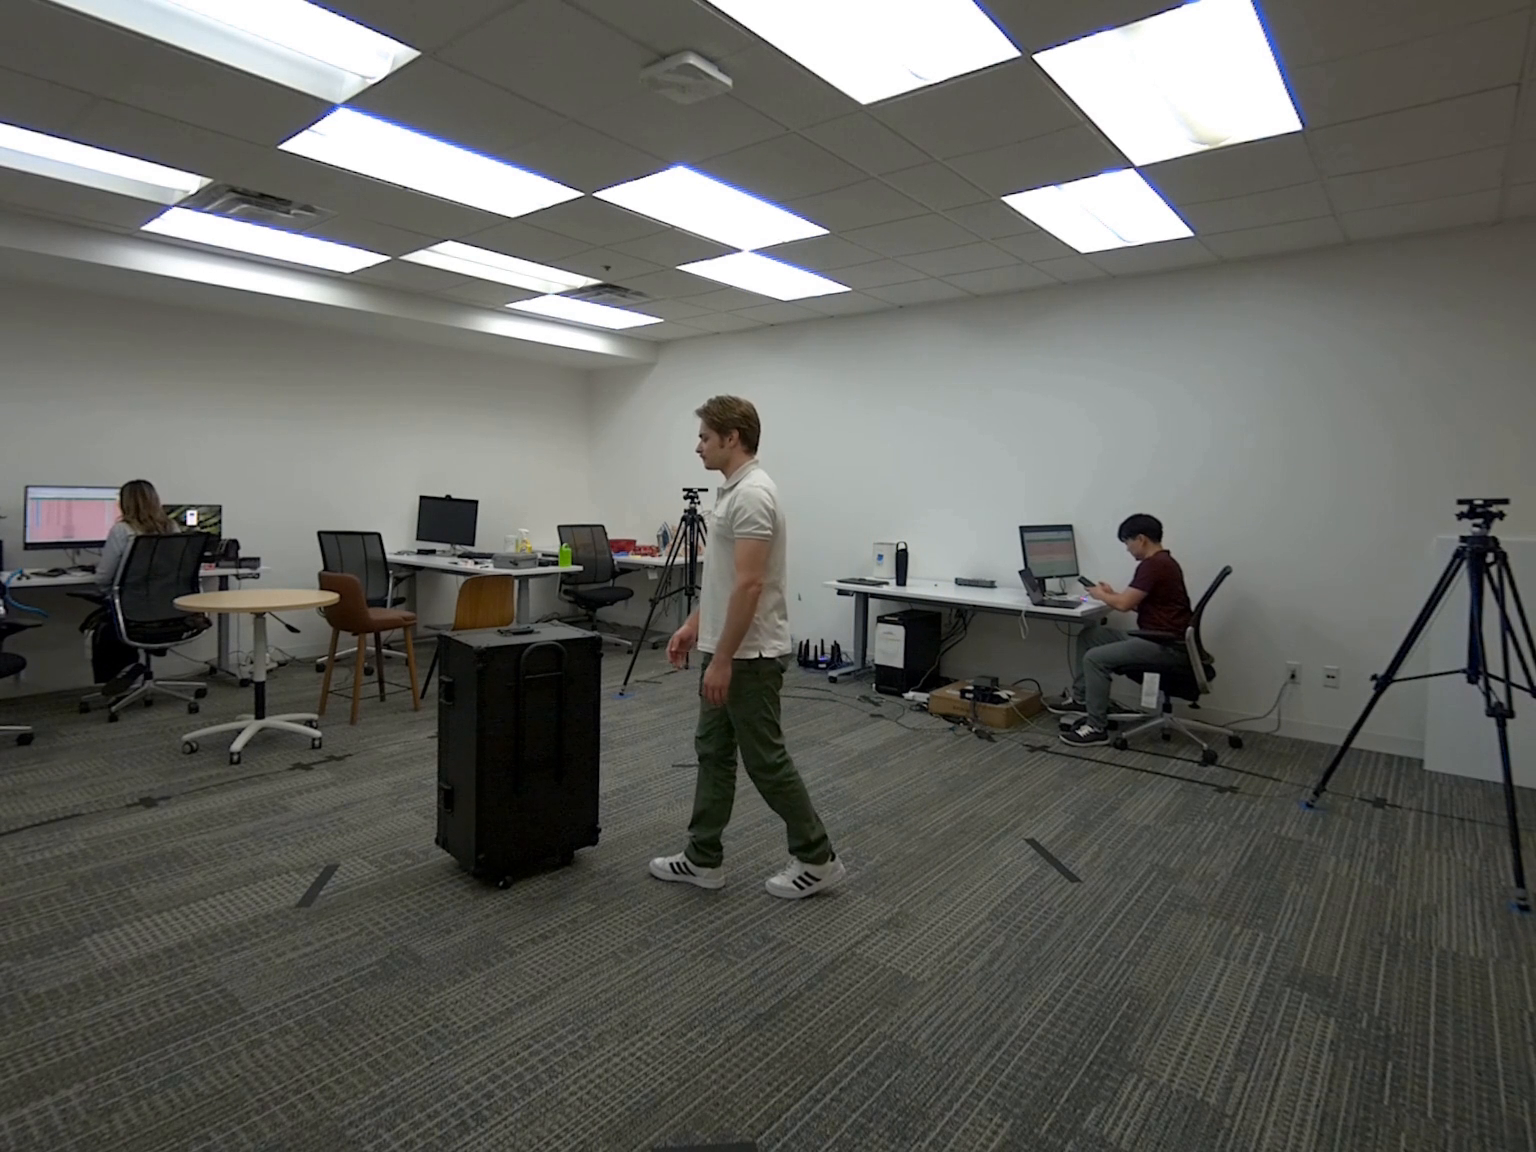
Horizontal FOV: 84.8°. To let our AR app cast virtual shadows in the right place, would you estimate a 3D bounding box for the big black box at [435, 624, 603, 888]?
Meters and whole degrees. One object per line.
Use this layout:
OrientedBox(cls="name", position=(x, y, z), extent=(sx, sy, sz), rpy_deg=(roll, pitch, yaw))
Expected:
OrientedBox(cls="big black box", position=(-0.922, 0.635, 3.123), extent=(0.507, 0.866, 0.398), rpy_deg=(-1, 5, -40))
